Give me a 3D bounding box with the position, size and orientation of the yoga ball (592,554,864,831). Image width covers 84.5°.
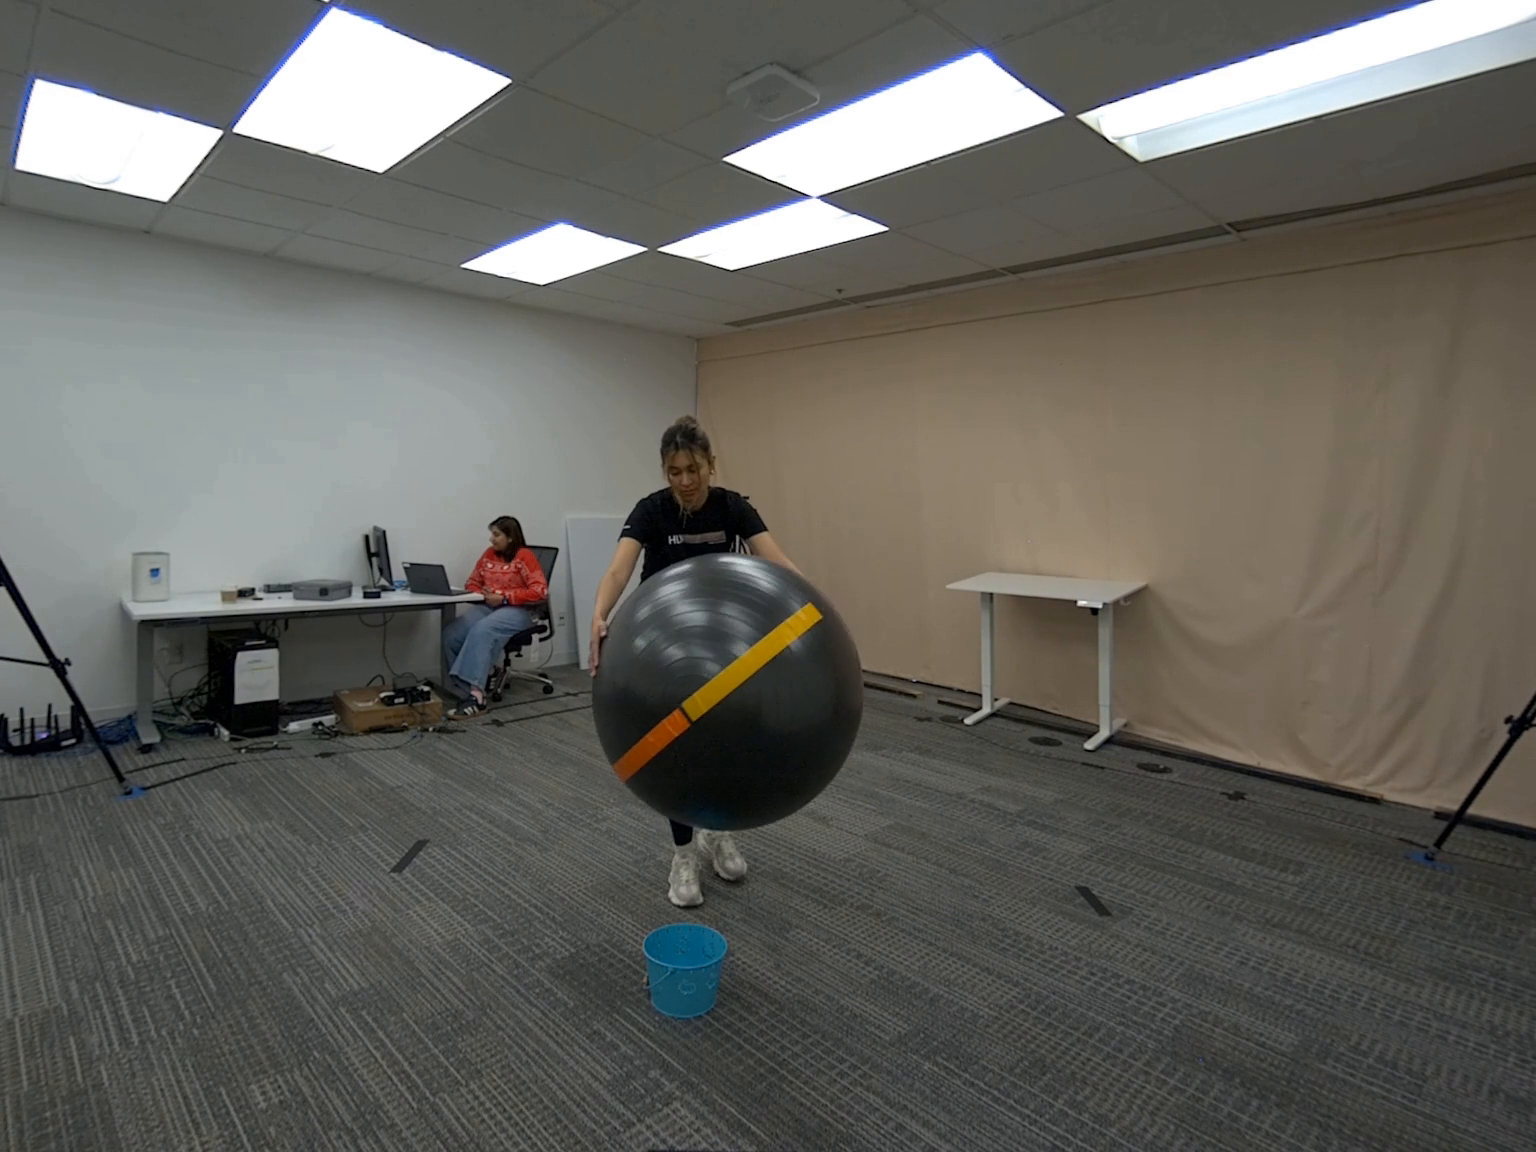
[{"bbox_3d":[-0.117,0.326,2.356,0.757,0.756,0.761,1,4,-1],"label":"yoga ball"}]
